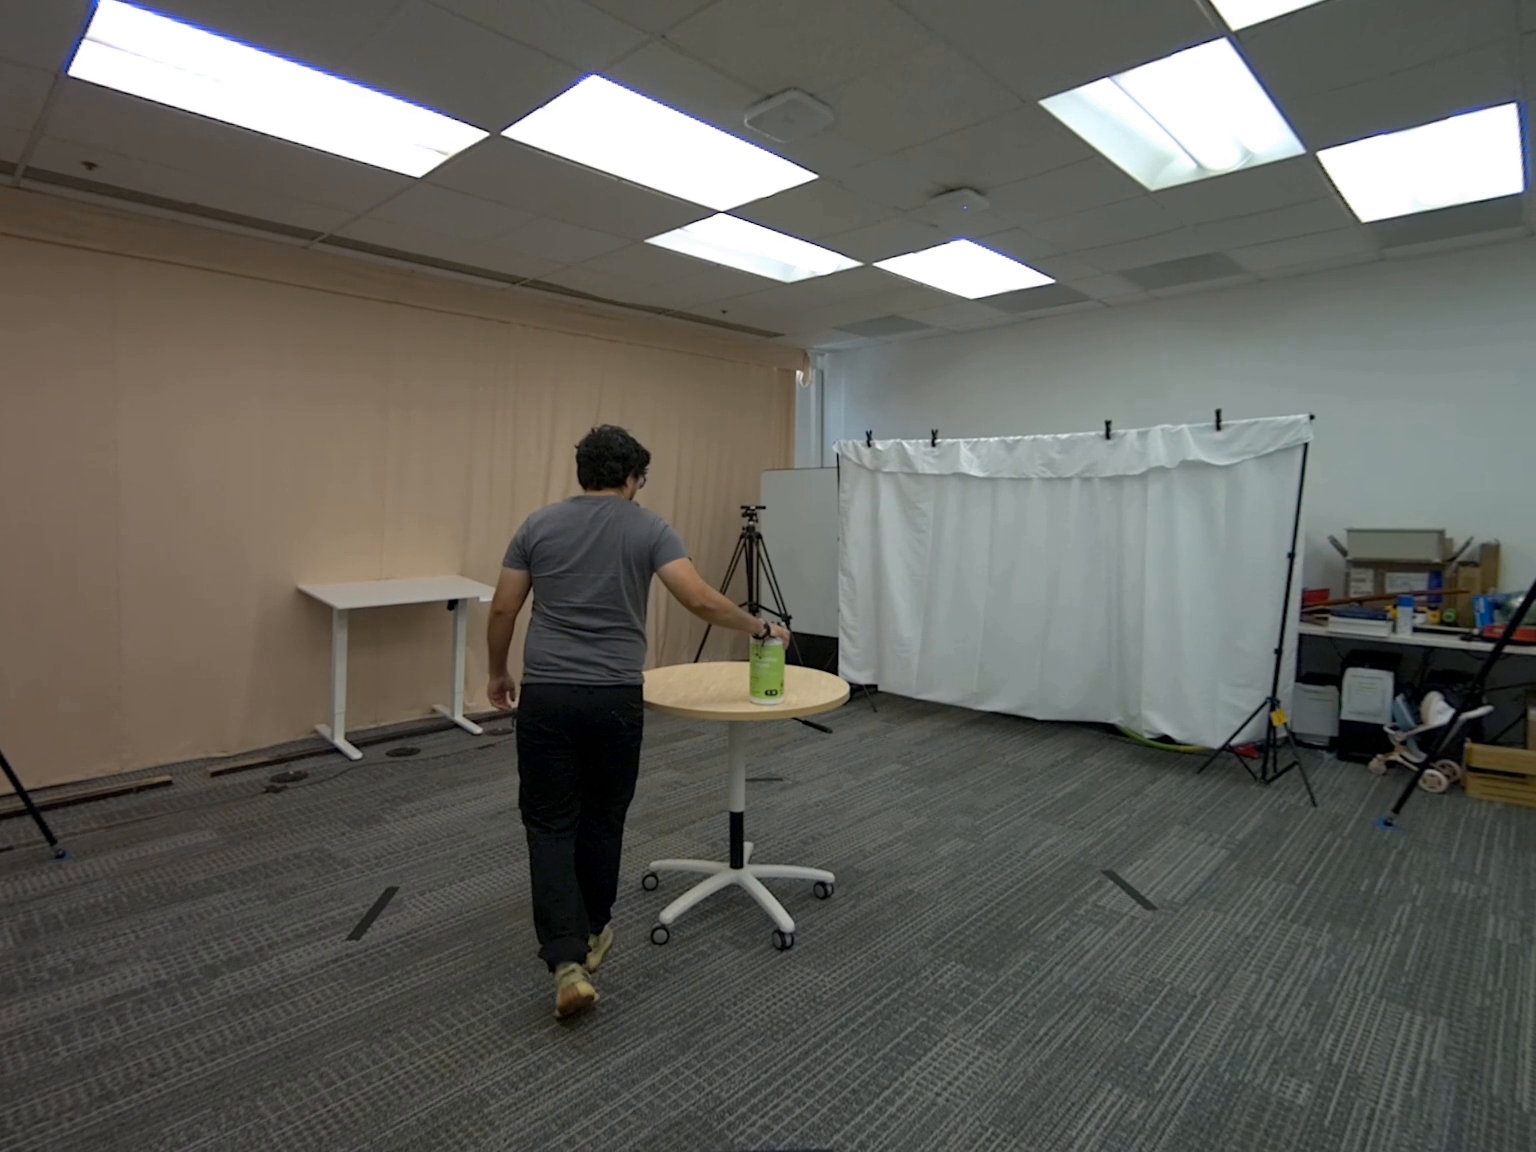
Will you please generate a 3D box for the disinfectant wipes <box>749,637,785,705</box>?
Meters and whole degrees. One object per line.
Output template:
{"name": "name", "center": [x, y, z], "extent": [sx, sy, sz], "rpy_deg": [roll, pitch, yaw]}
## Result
{"name": "disinfectant wipes", "center": [0.001, 0.290, 2.629], "extent": [0.117, 0.216, 0.118], "rpy_deg": [1, 7, -2]}
